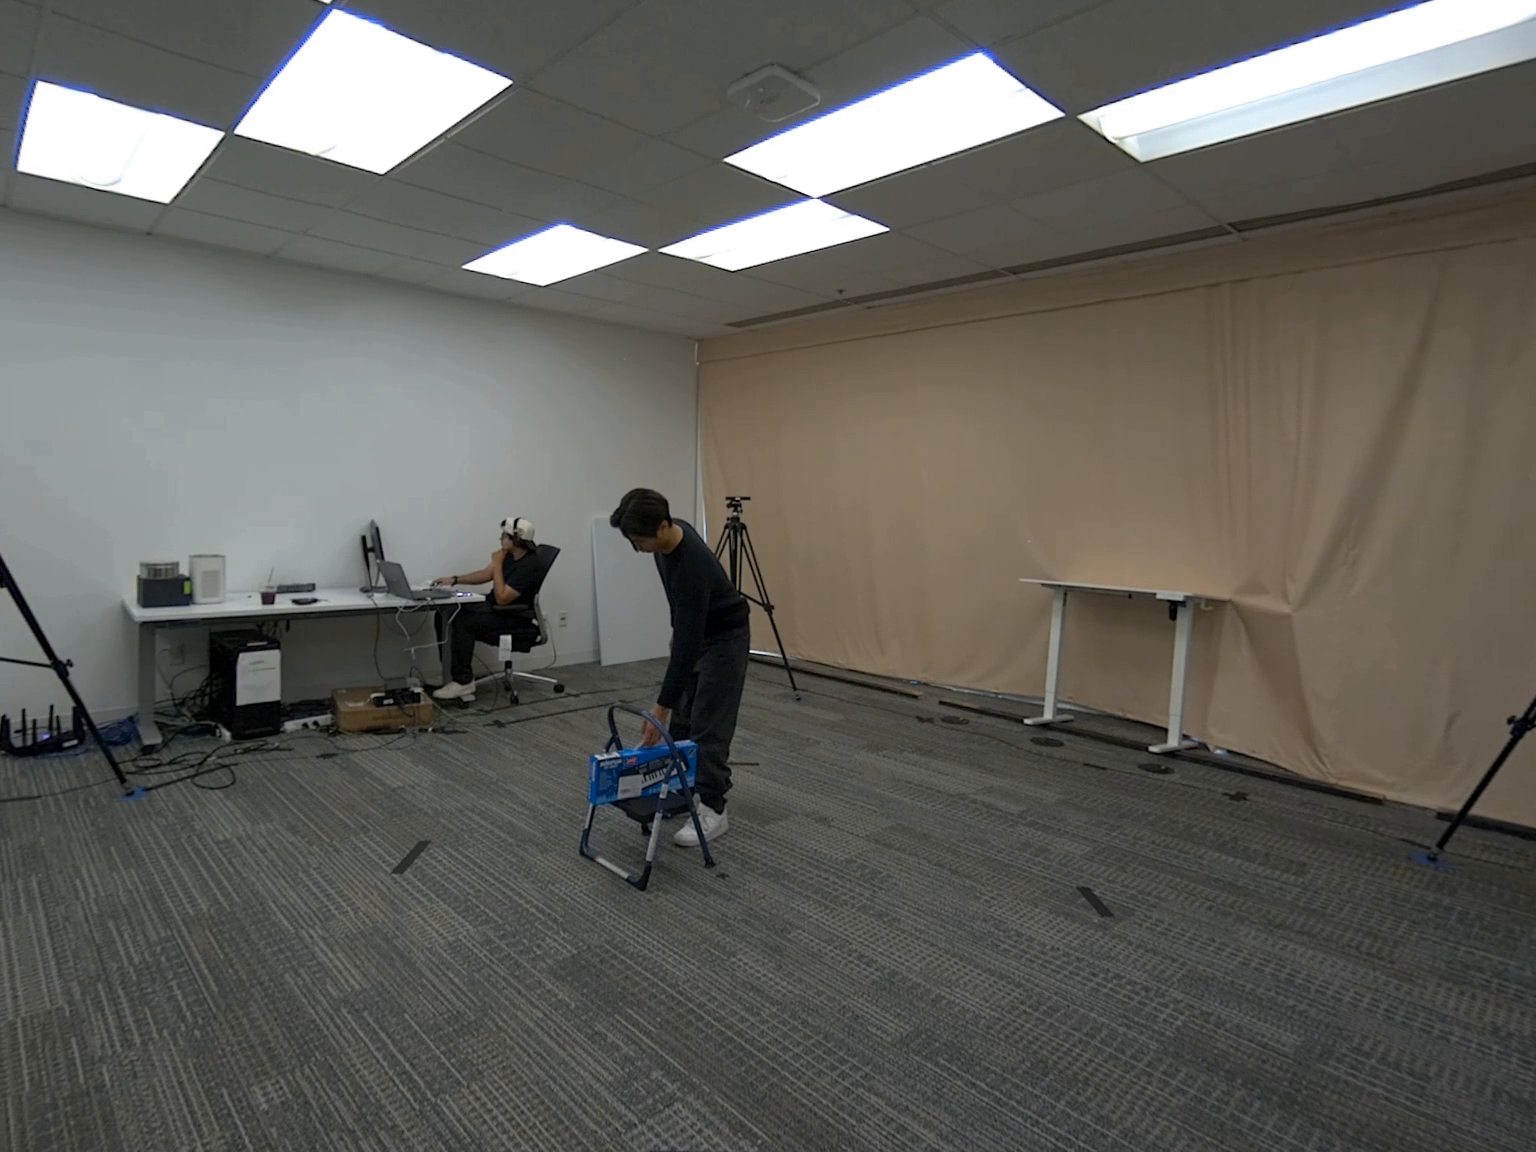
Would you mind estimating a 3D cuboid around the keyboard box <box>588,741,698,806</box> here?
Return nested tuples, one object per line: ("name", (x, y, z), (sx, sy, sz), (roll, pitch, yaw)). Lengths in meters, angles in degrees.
("keyboard box", (-0.473, 0.743, 3.184), (0.427, 0.175, 0.061), (0, 7, -37))
